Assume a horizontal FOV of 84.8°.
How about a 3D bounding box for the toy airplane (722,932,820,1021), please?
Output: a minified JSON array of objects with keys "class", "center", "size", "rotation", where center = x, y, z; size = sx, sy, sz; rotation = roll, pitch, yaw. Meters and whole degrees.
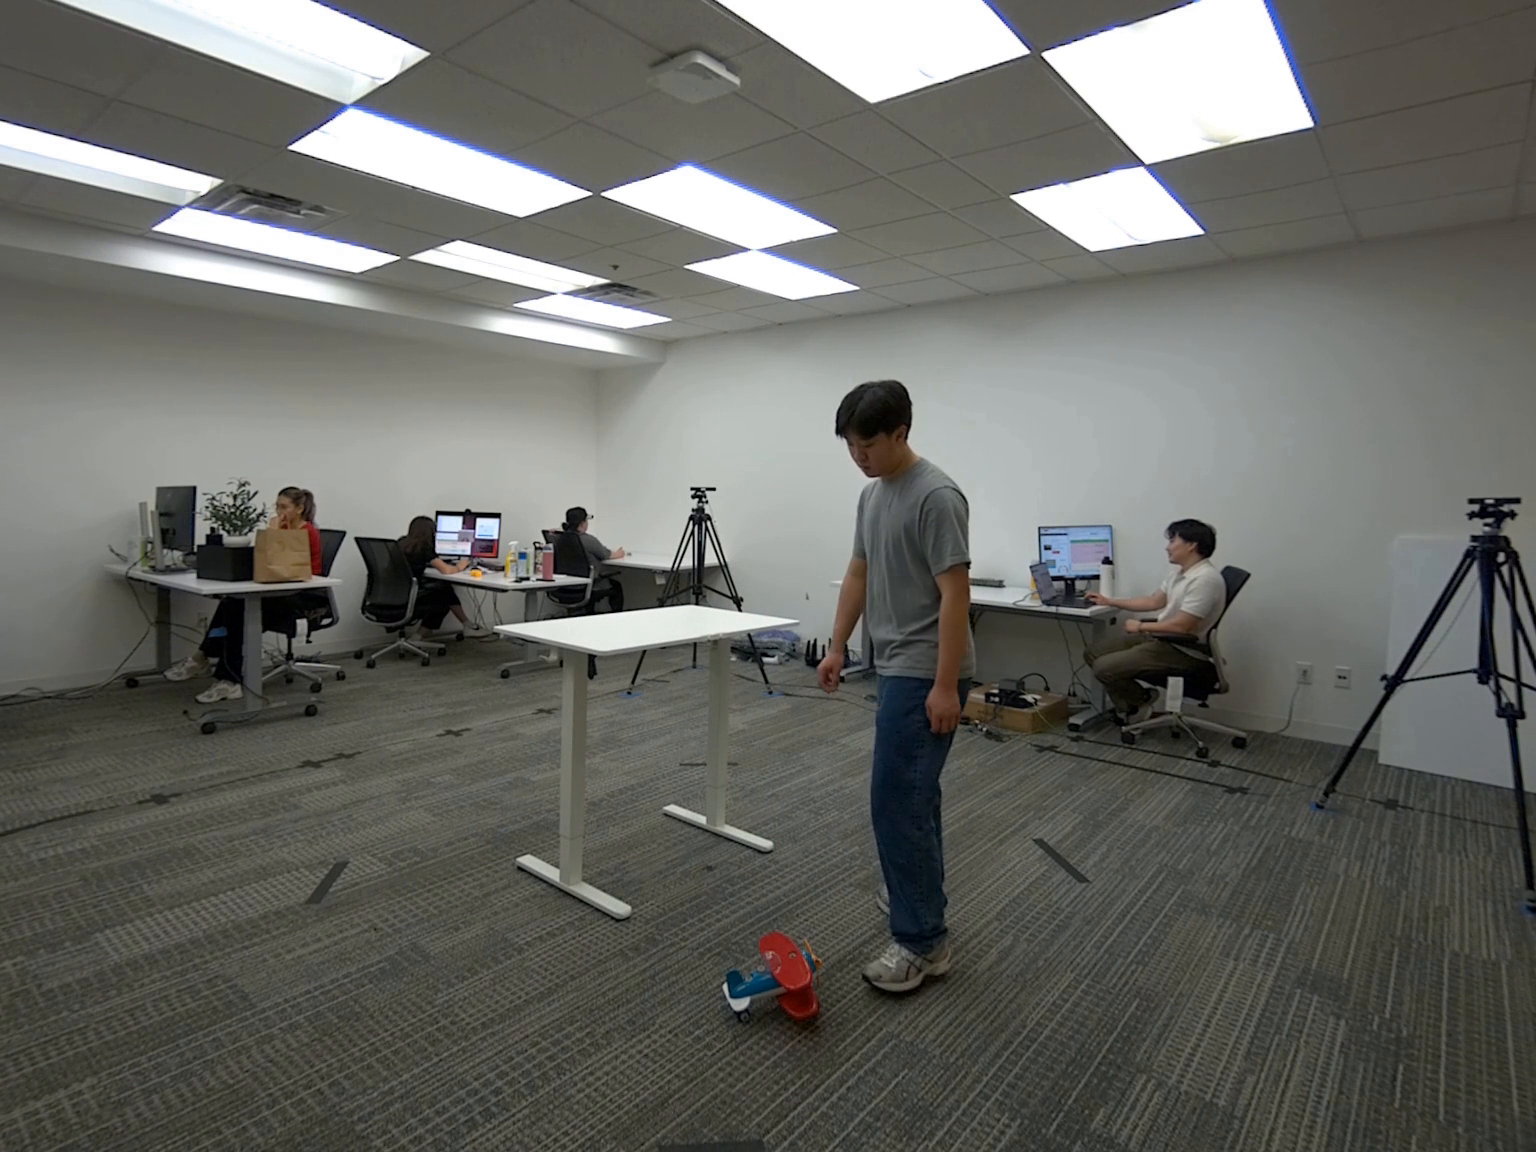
[{"class":"toy airplane","center":[0.019,1.085,2.245],"size":[0.260,0.156,0.251],"rotation":[6,6,43]}]
